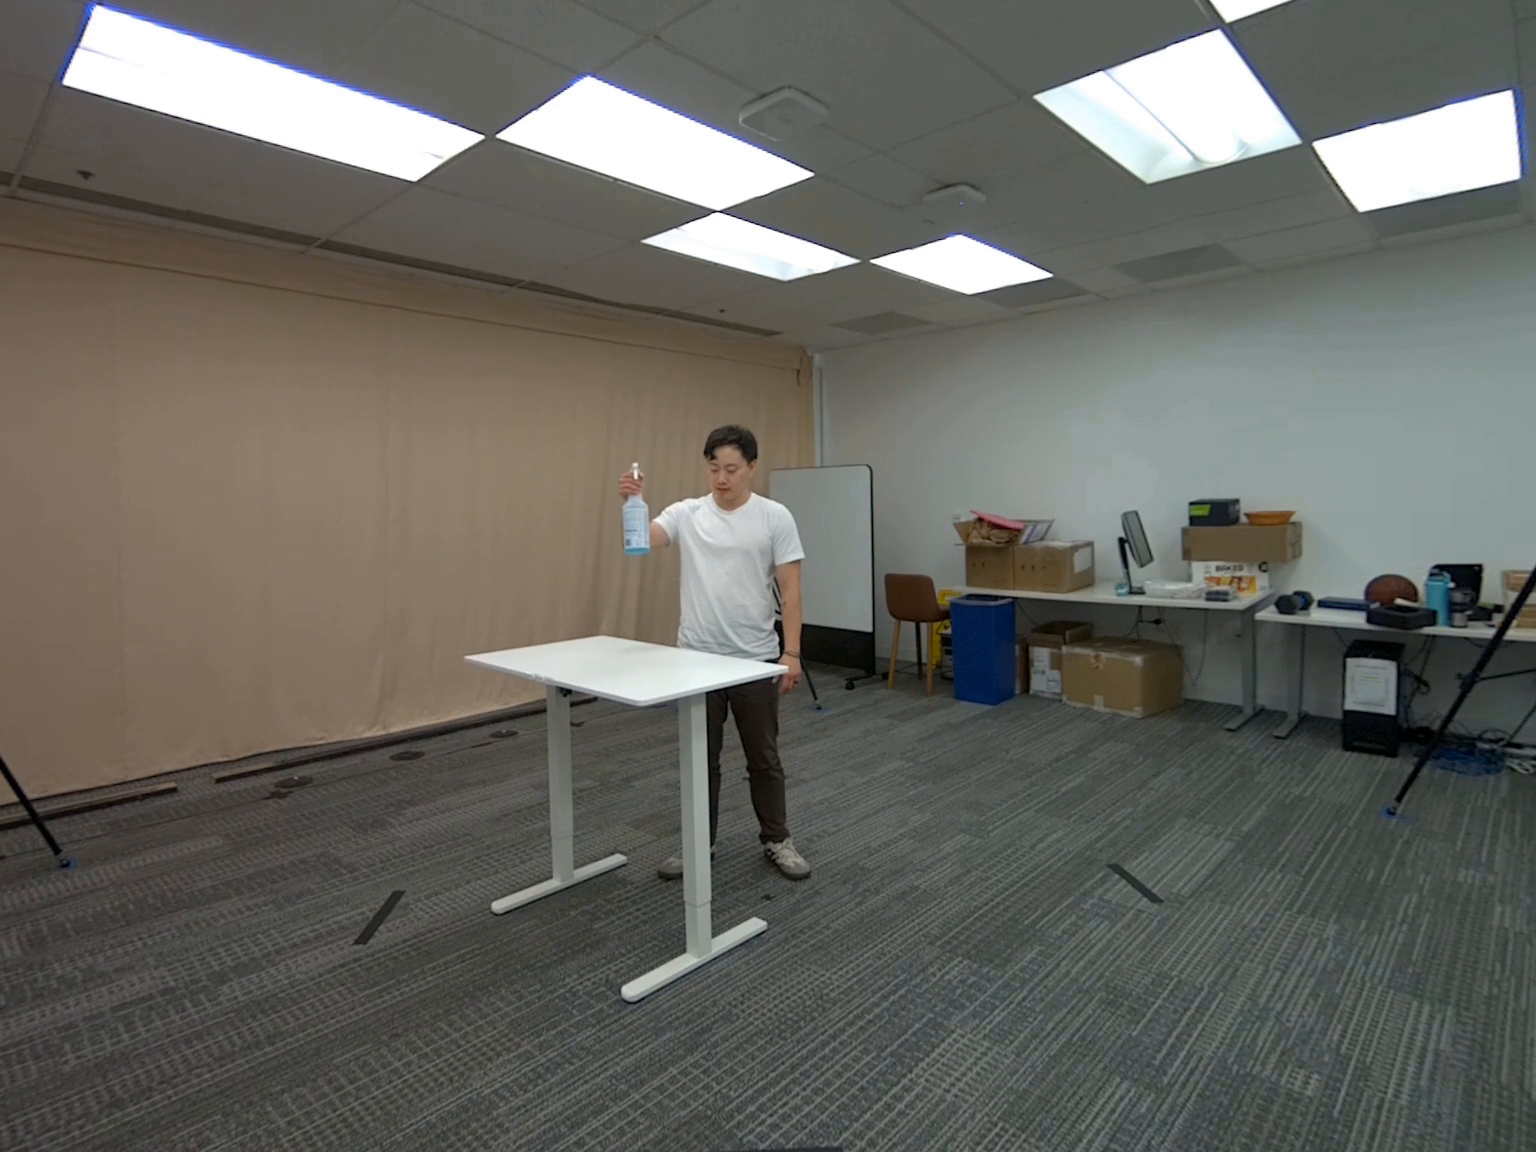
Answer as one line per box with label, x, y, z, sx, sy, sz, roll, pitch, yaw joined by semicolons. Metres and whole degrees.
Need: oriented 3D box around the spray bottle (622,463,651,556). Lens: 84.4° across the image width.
spray bottle;-0.446;-0.226;2.815;0.088;0.298;0.088;-4;-3;13
